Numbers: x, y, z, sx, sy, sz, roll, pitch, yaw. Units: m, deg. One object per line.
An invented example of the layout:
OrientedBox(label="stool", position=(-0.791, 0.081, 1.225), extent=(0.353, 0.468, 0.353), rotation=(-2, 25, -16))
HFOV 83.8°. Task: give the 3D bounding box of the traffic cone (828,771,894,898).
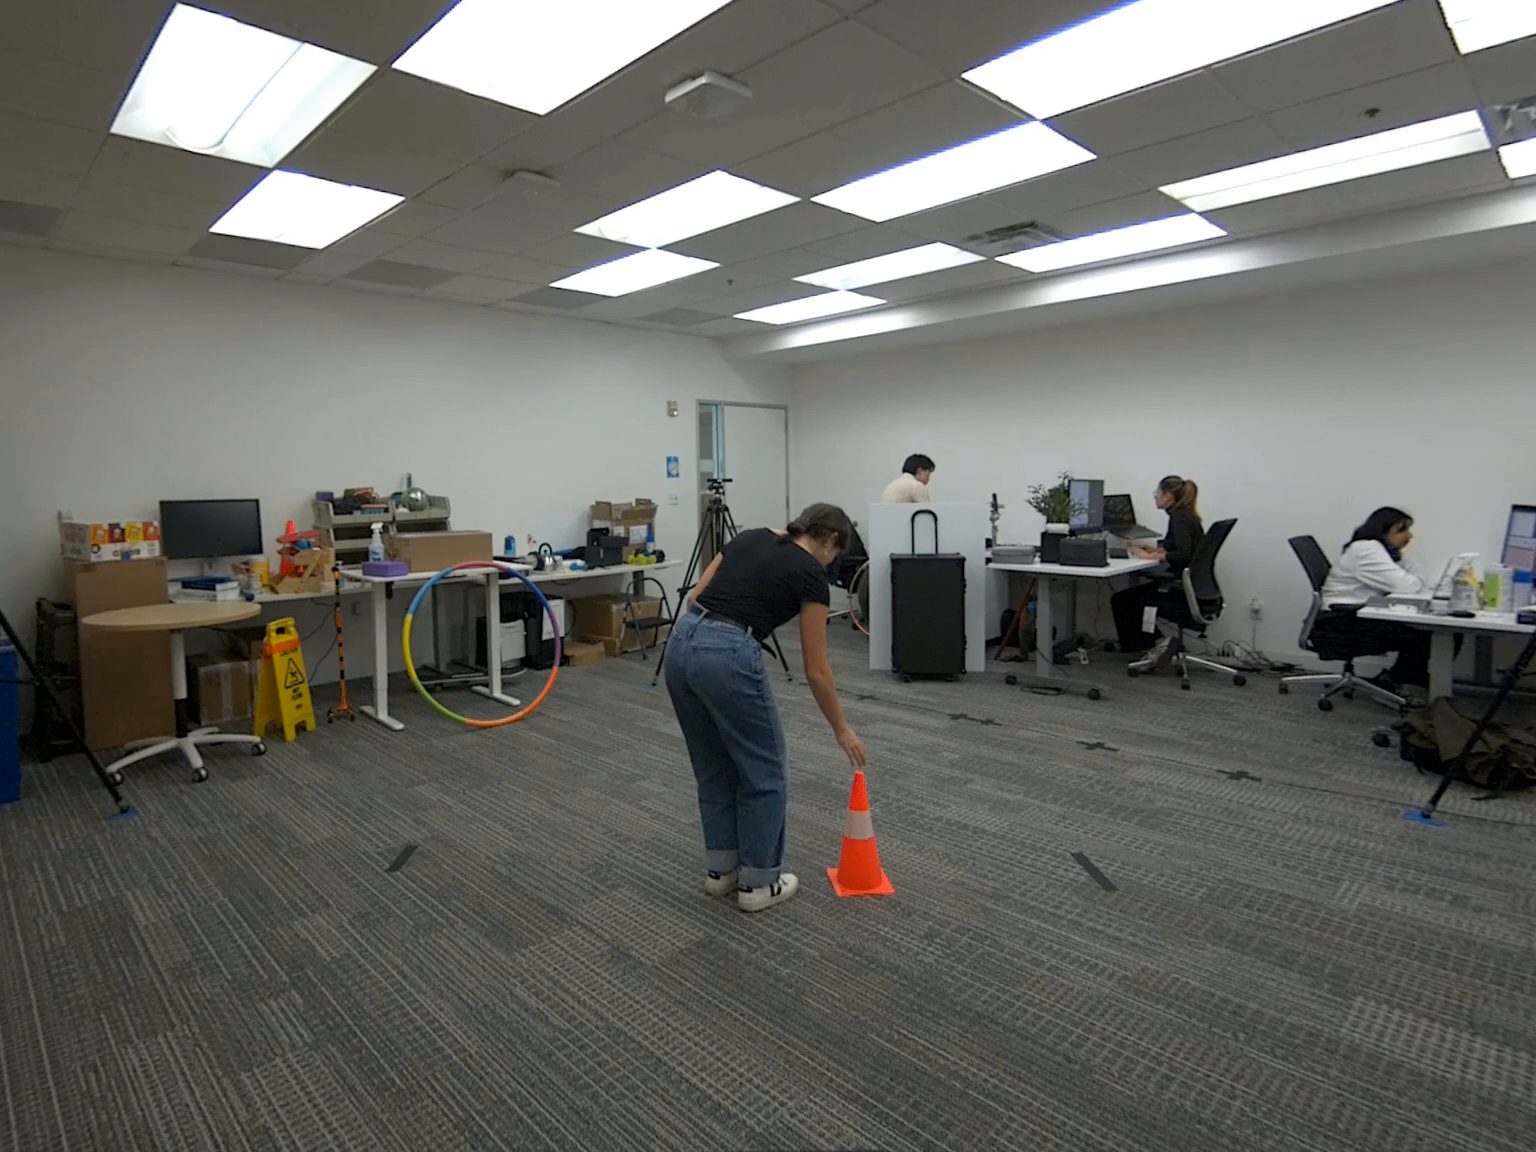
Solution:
OrientedBox(label="traffic cone", position=(0.321, 0.868, 2.946), extent=(0.204, 0.382, 0.205), rotation=(-1, 4, -6))
